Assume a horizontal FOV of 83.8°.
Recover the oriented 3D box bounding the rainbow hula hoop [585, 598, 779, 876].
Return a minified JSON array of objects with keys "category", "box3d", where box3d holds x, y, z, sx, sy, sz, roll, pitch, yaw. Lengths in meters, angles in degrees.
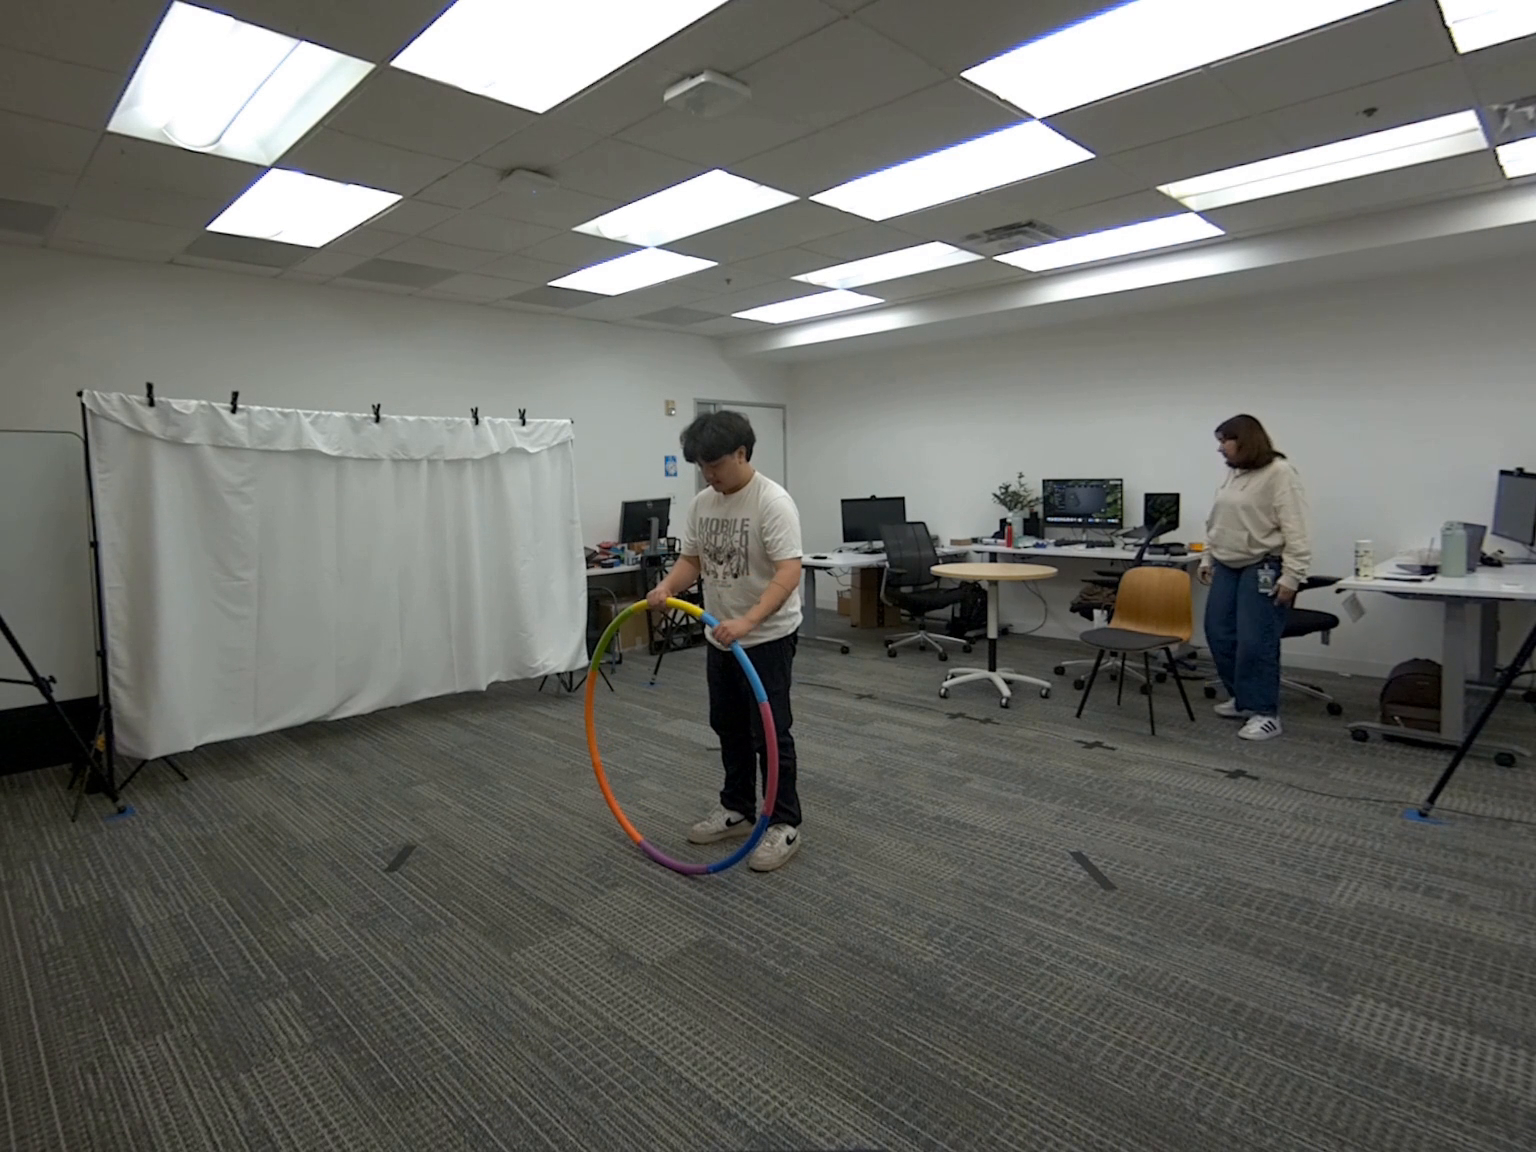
[{"category":"rainbow hula hoop","box3d":[-0.348,0.567,3.052,1.016,0.982,0.050,4,5,44]}]
